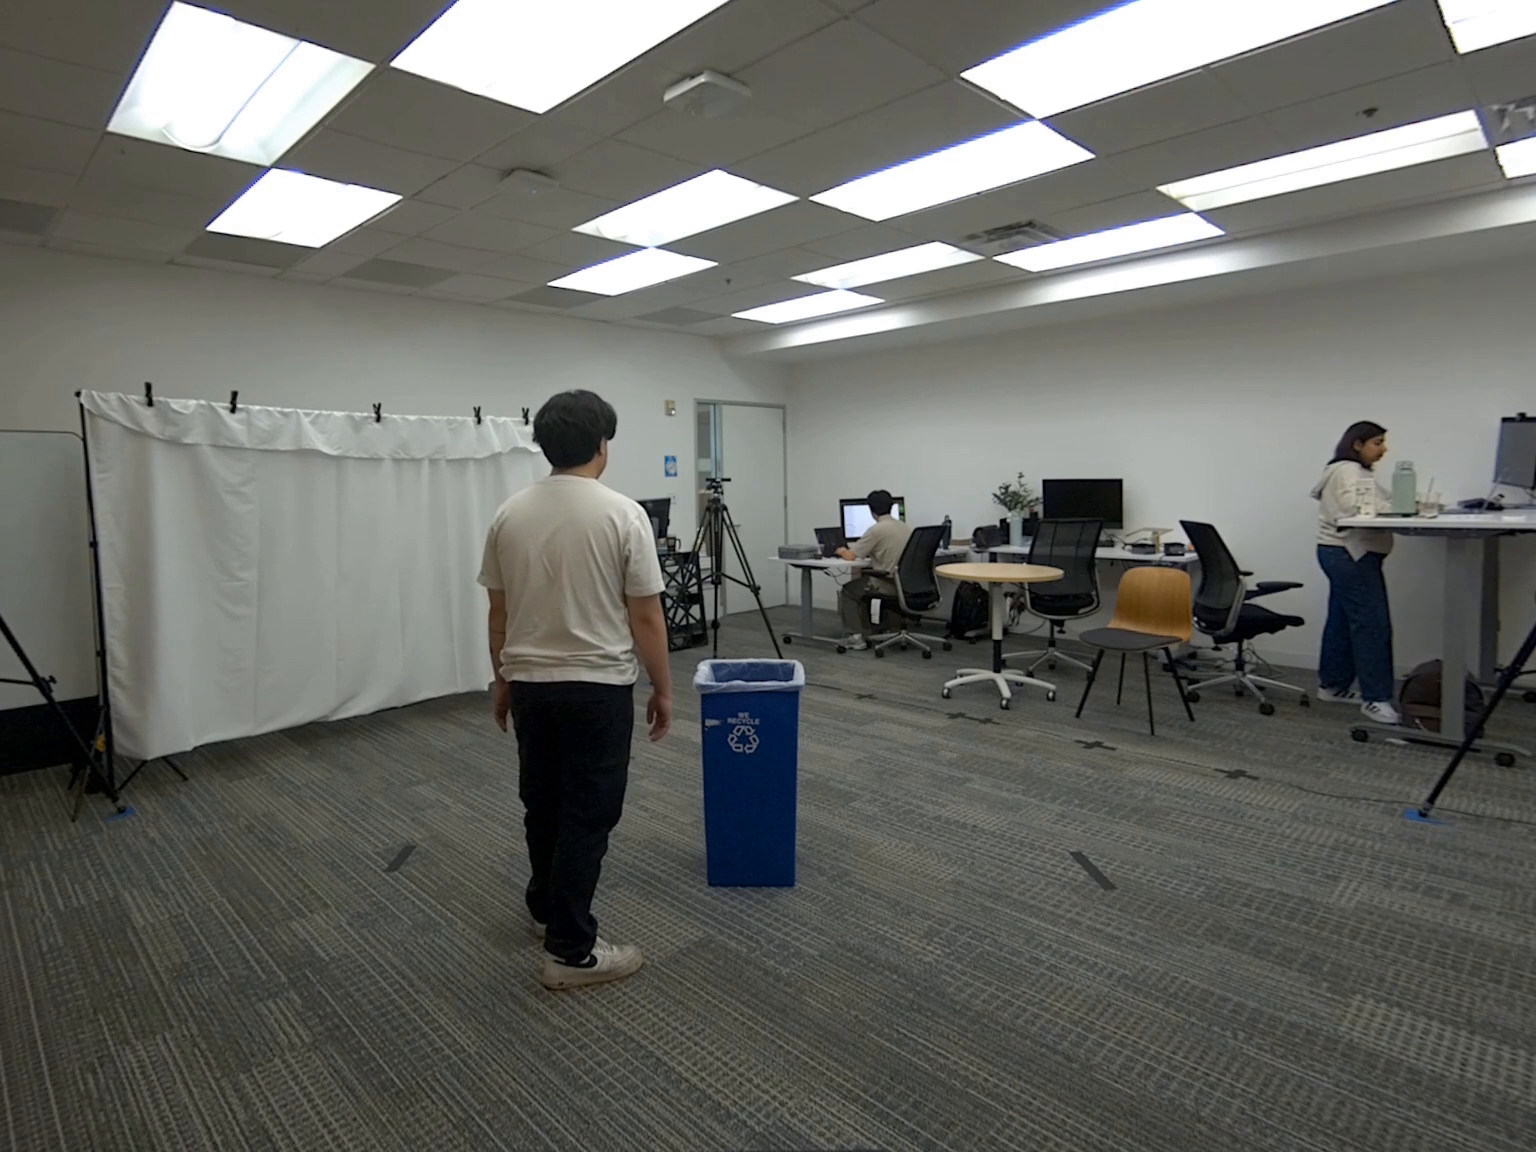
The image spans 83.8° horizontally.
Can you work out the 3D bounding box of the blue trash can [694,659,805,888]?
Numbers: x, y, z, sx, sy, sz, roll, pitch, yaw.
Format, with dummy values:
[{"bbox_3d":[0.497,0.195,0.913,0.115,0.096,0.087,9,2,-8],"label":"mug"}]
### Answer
[{"bbox_3d":[-0.054,0.692,3.050,0.375,0.711,0.378,-1,4,2],"label":"blue trash can"}]
